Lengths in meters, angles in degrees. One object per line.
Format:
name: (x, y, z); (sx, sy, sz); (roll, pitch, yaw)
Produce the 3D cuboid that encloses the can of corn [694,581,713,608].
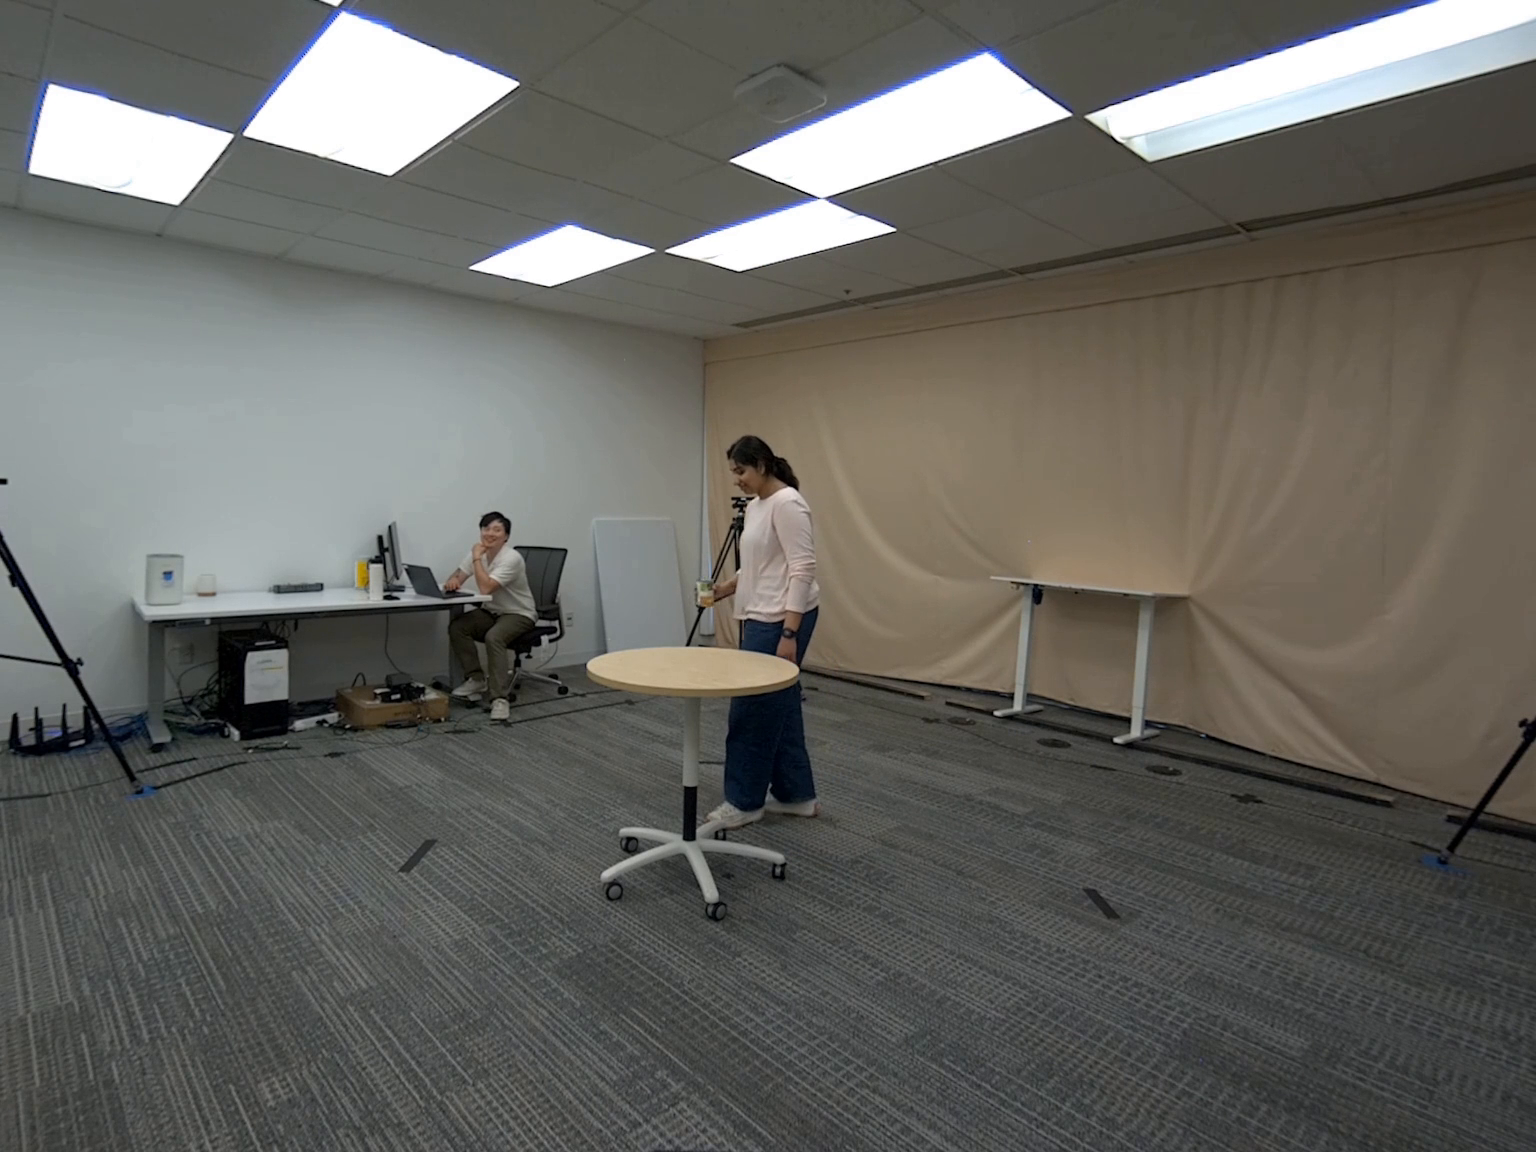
can of corn: (-0.276, 0.070, 3.650); (0.074, 0.111, 0.074); (-3, 1, -1)
